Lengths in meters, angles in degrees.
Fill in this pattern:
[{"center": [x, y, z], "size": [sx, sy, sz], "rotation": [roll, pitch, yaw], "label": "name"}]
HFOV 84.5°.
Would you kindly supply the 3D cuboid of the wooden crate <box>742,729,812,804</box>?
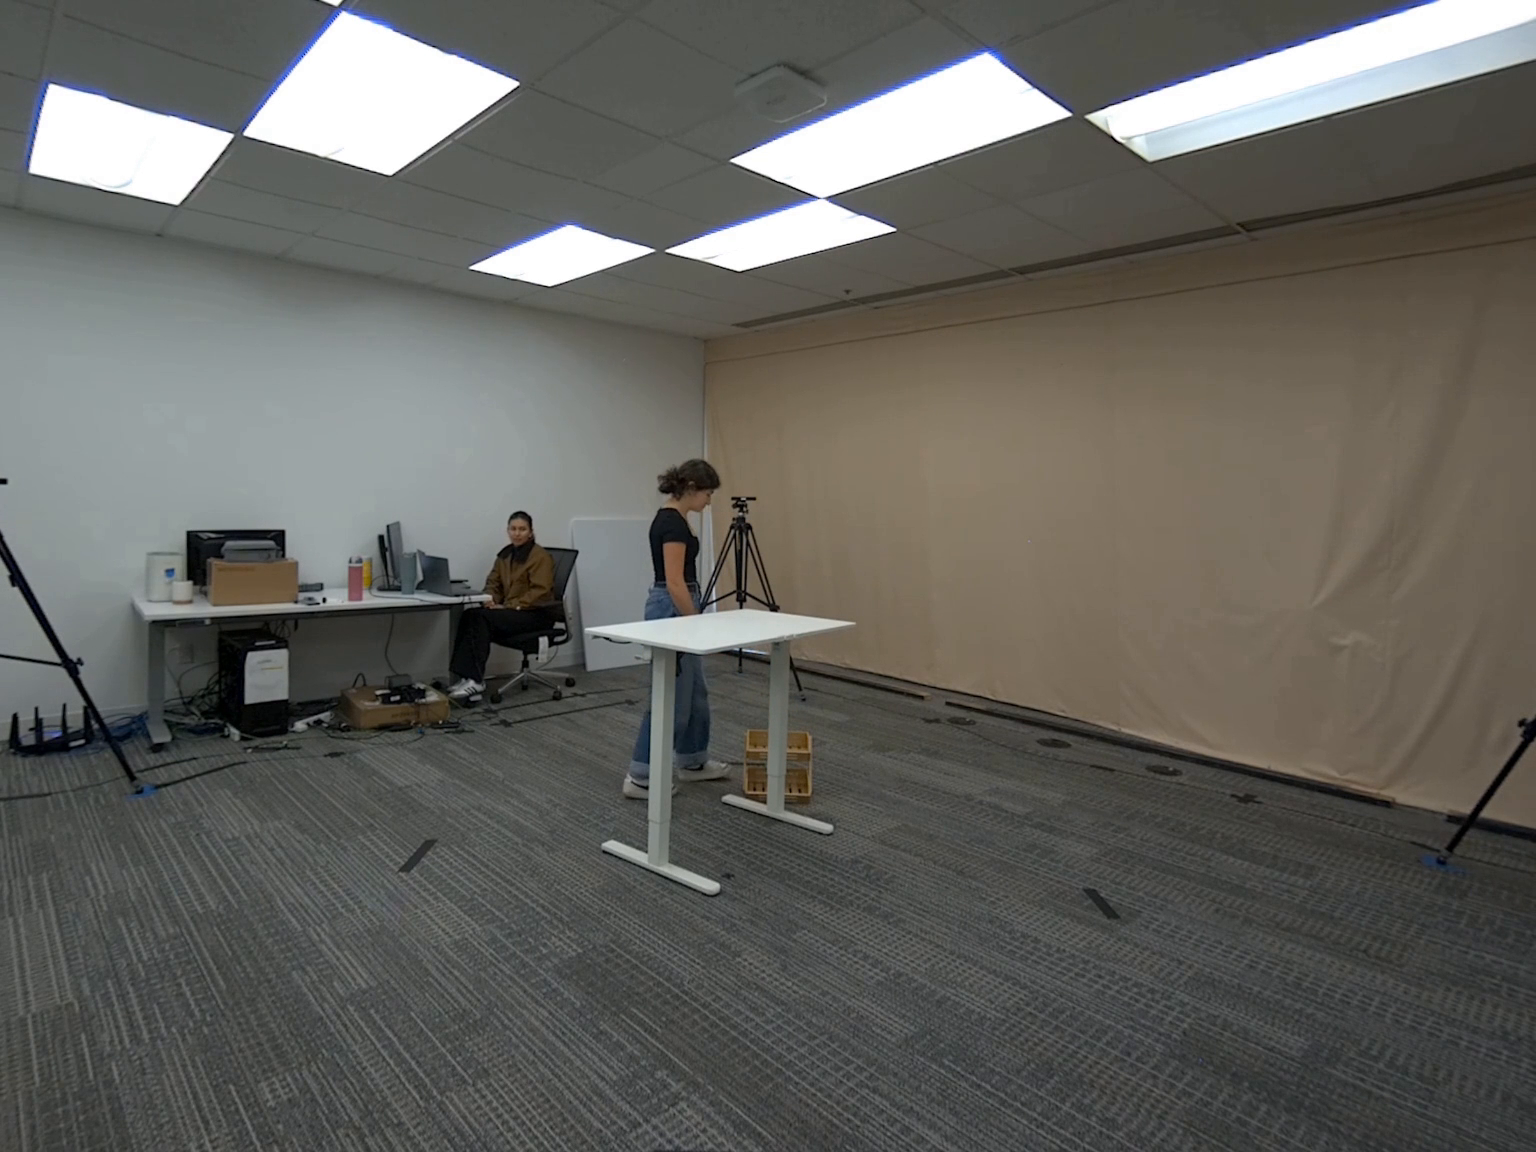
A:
[{"center": [0.032, 0.893, 3.990], "size": [0.325, 0.273, 0.302], "rotation": [2, 3, 0], "label": "wooden crate"}]
